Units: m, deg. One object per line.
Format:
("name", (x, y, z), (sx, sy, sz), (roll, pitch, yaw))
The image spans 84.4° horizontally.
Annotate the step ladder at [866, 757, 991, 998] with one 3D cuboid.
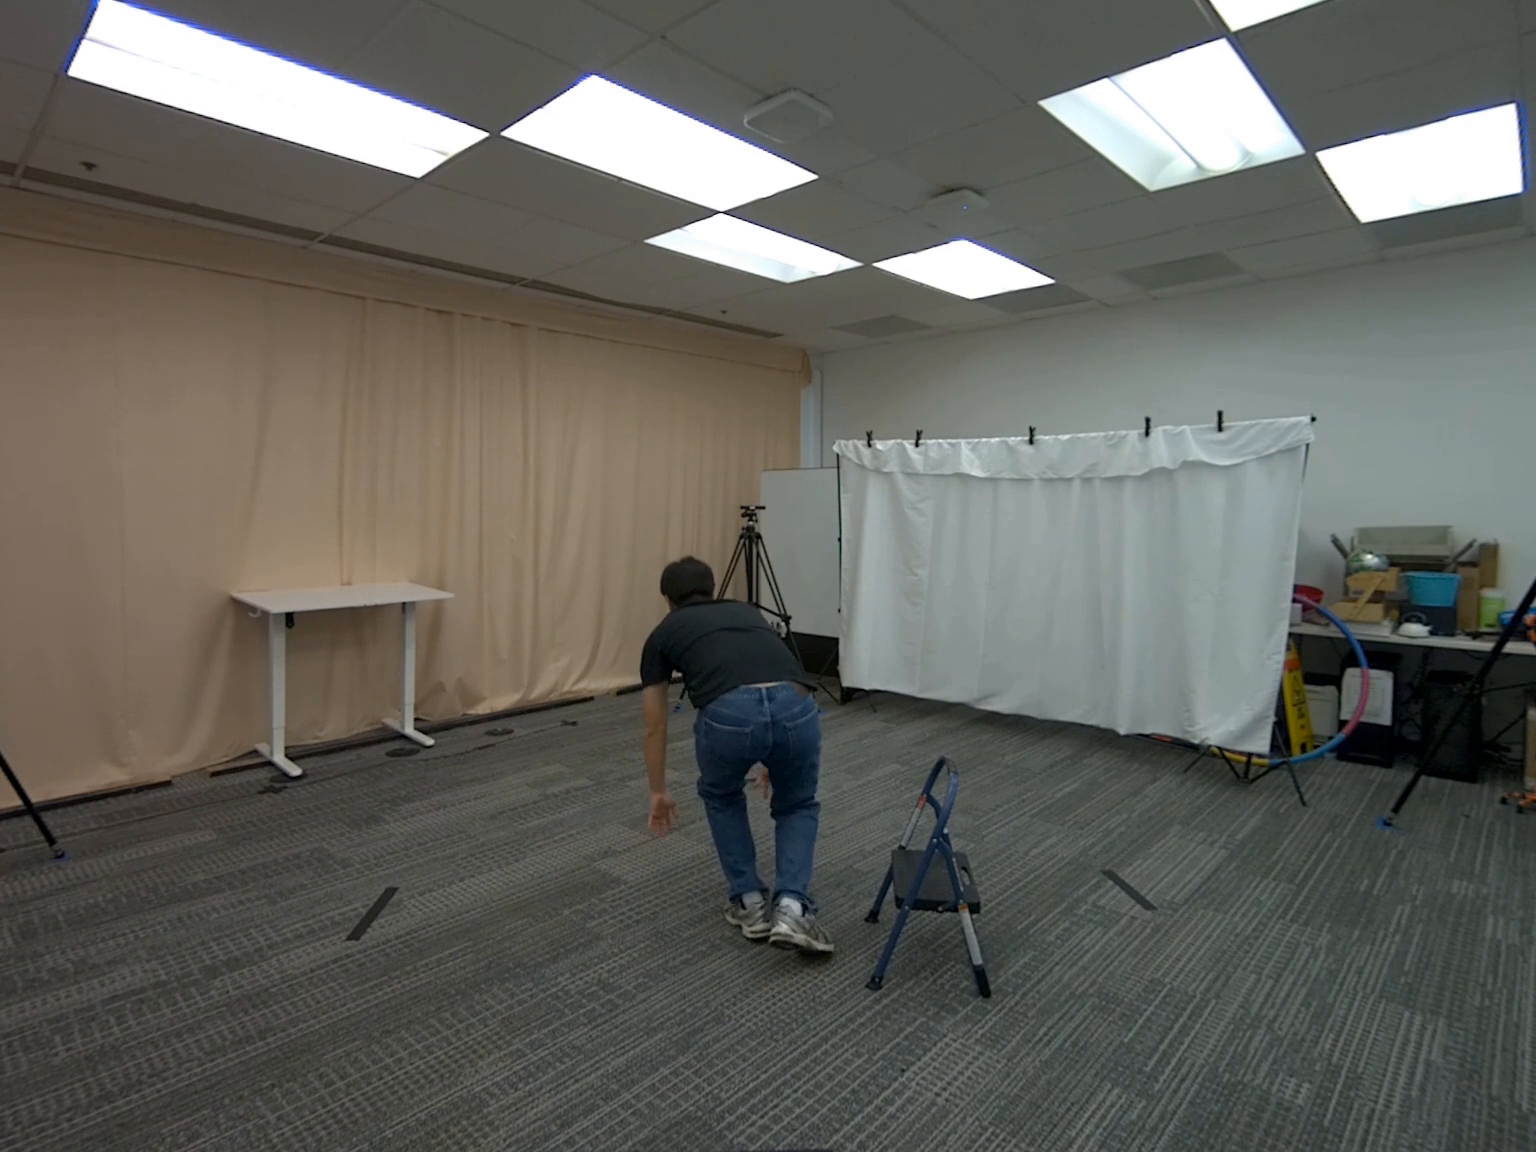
("step ladder", (0.487, 0.876, 2.584), (0.352, 0.604, 0.428), (1, 4, 6))
